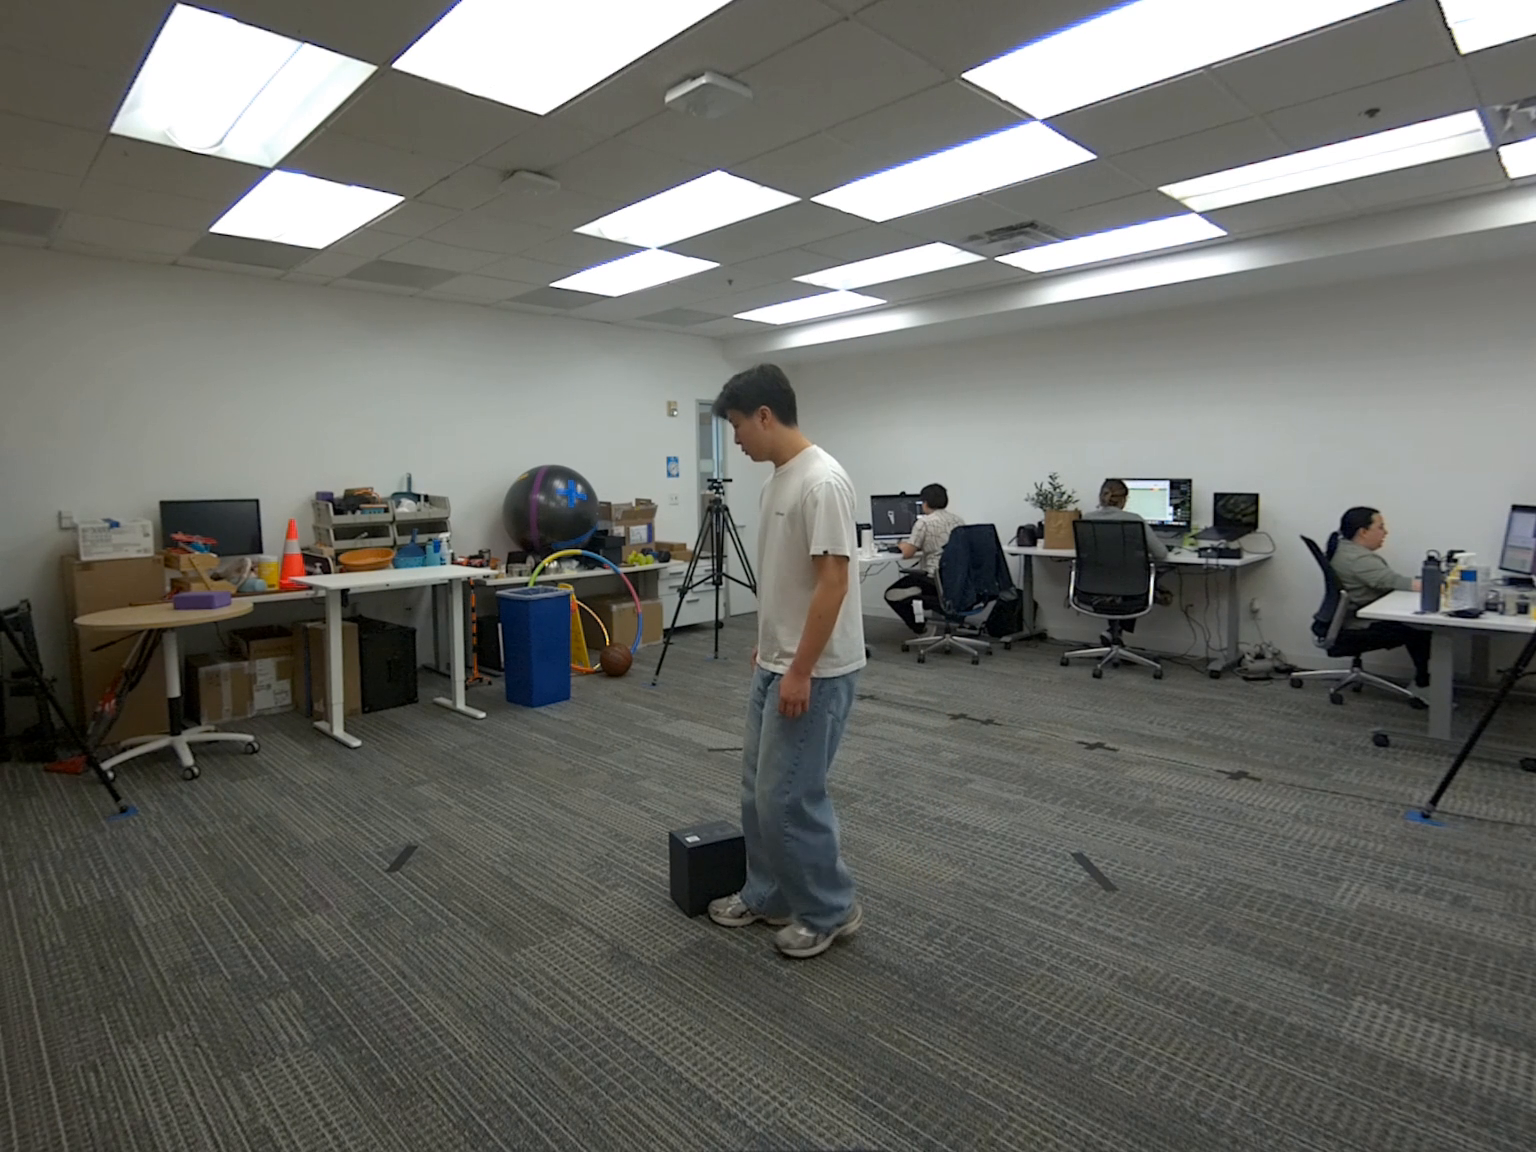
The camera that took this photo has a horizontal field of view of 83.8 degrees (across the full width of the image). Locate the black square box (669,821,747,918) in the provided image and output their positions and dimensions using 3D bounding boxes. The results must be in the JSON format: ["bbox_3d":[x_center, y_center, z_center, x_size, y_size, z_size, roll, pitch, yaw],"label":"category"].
[{"bbox_3d":[-0.195,0.959,2.830,0.212,0.227,0.160,-3,5,-28],"label":"black square box"}]
